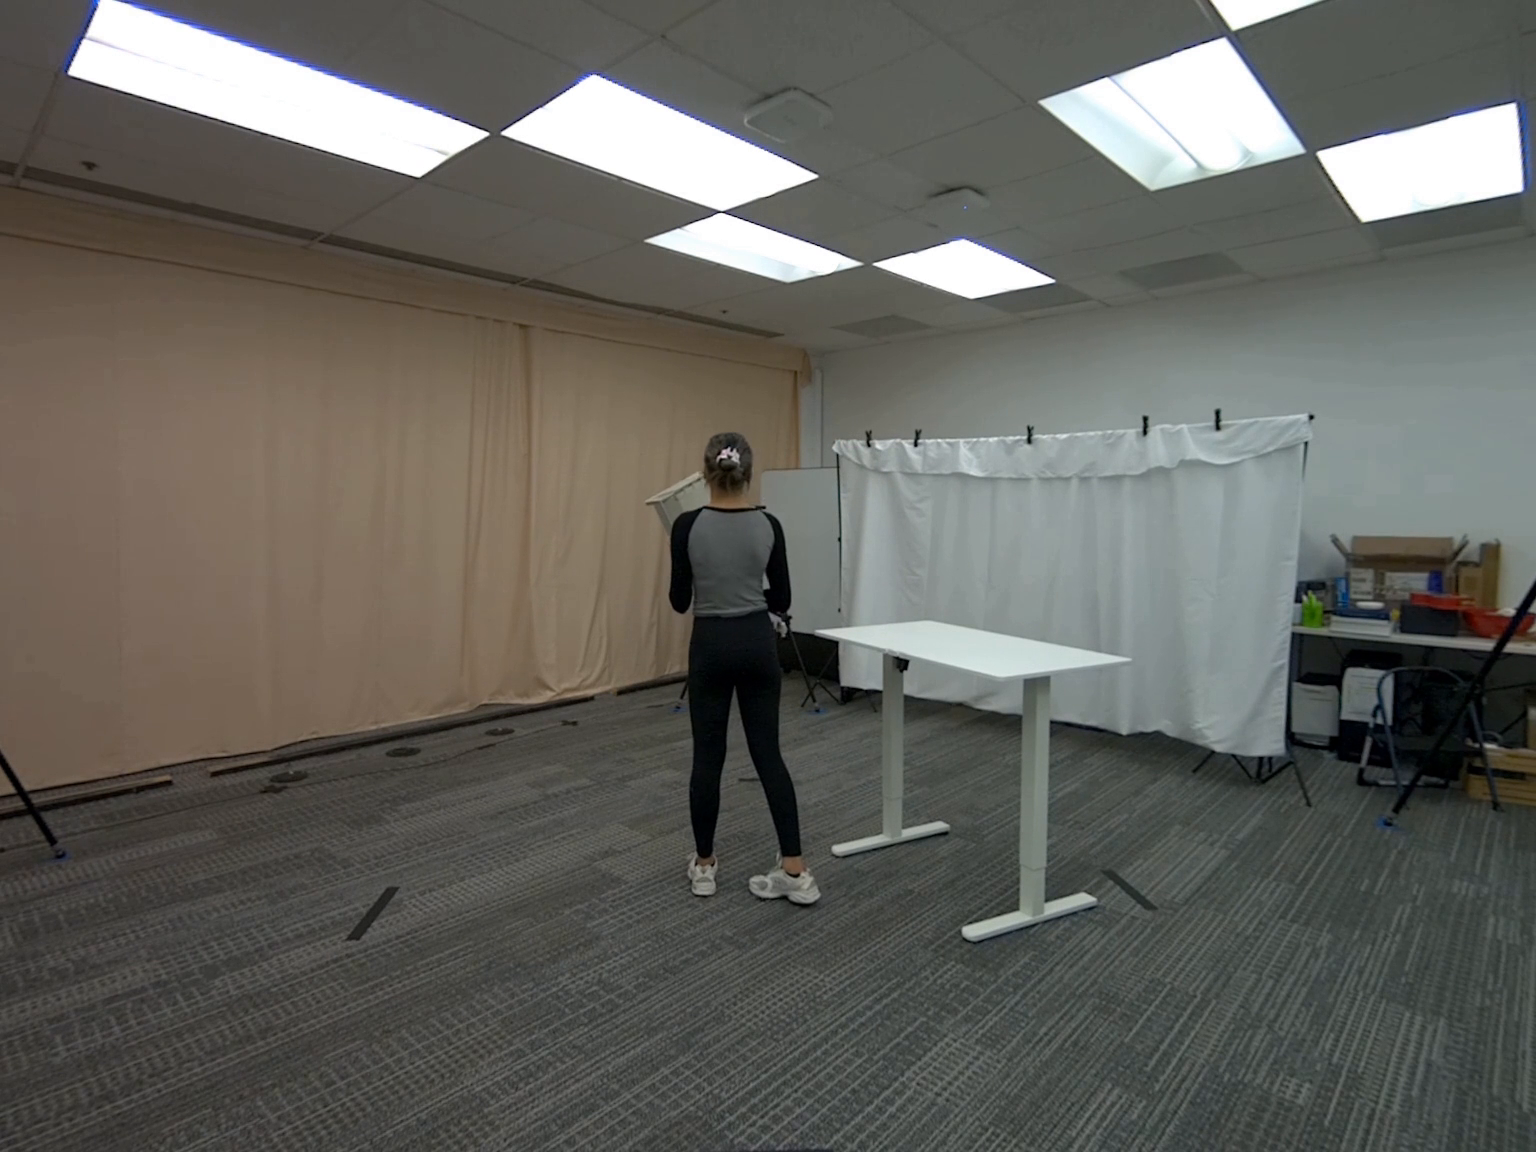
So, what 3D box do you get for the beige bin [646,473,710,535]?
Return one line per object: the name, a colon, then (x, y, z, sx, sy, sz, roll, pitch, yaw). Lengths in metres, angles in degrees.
beige bin: (-0.250, -0.181, 3.363, 0.194, 0.418, 0.371, -14, 15, 48)
